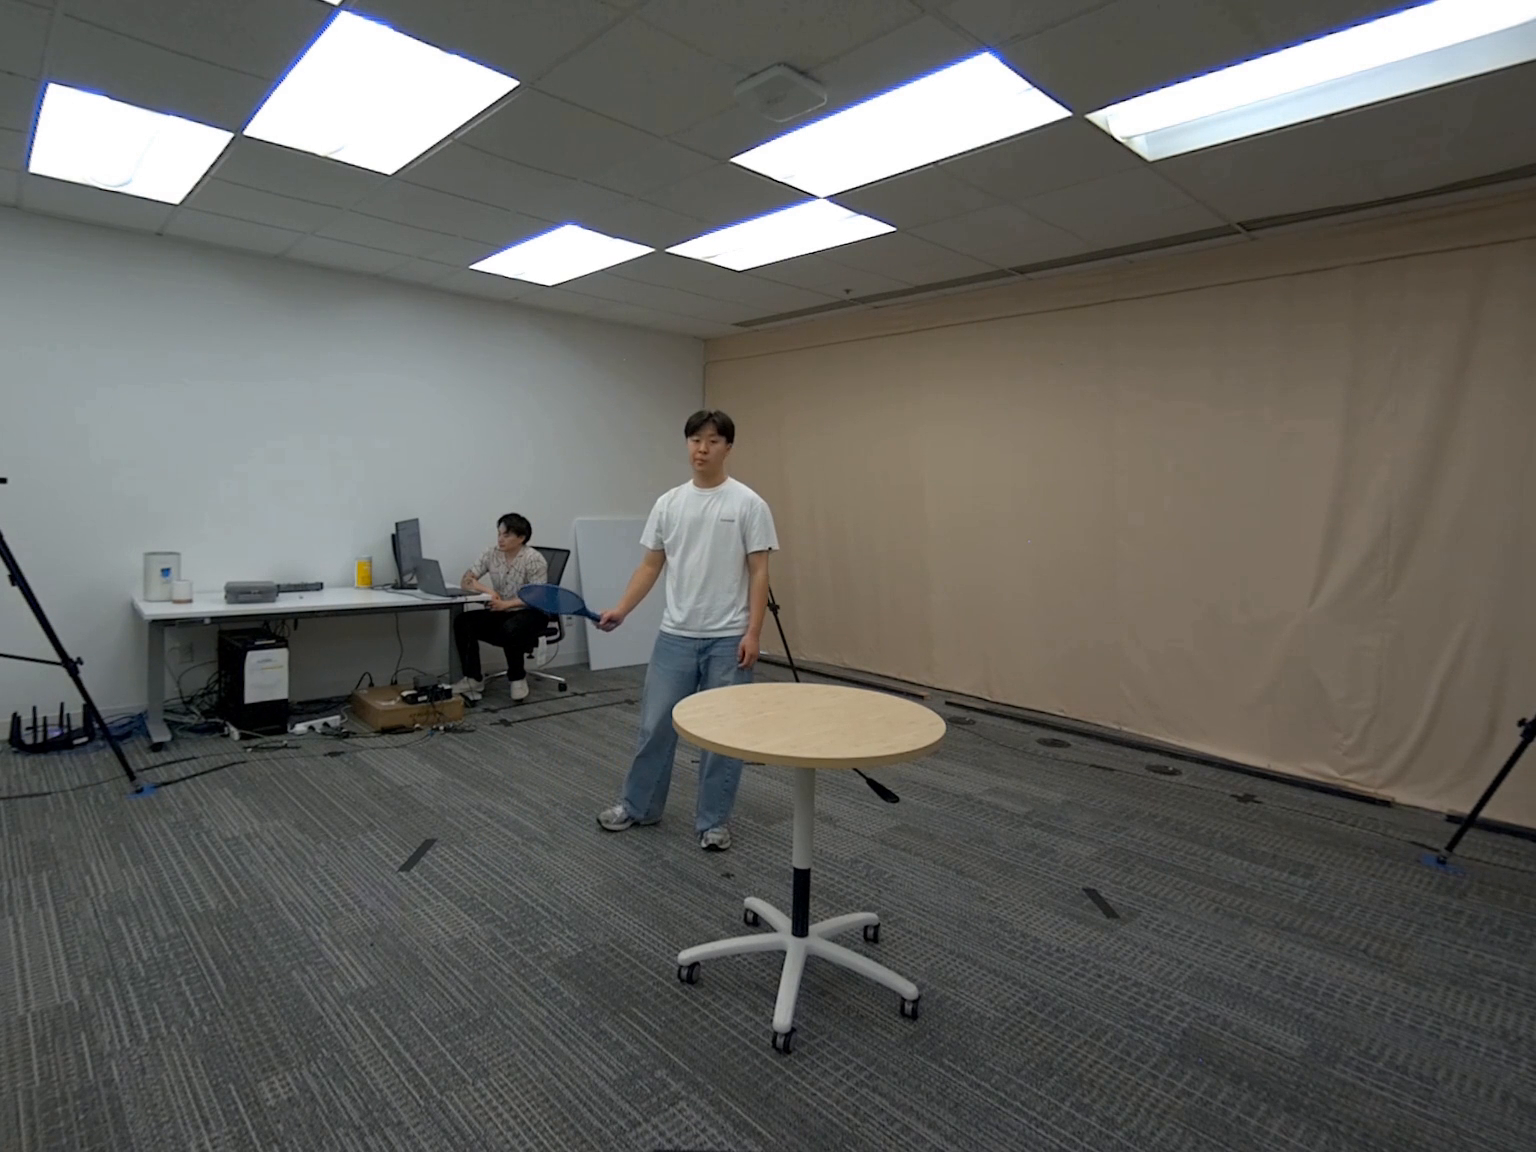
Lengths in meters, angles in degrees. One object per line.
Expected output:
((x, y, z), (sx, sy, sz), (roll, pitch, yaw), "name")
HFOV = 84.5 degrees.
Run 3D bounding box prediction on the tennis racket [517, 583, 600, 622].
((-0.772, 0.115, 3.219), (0.421, 0.032, 0.215), (22, -36, -31), "tennis racket")
